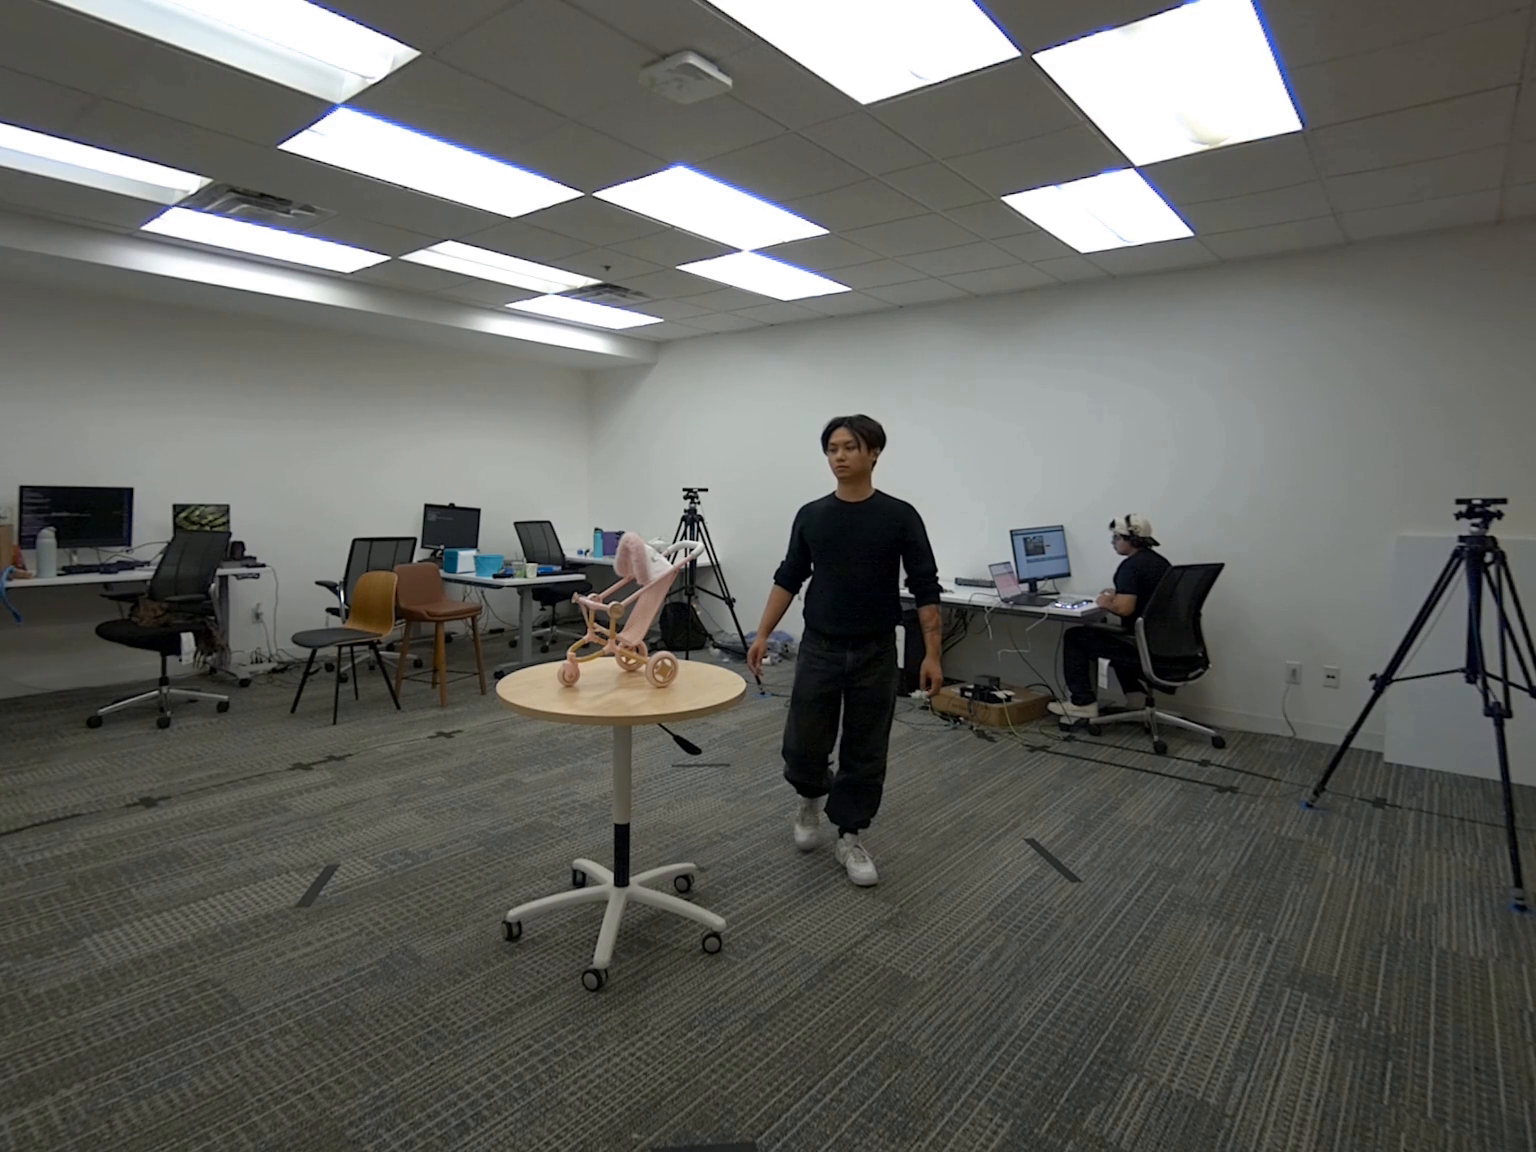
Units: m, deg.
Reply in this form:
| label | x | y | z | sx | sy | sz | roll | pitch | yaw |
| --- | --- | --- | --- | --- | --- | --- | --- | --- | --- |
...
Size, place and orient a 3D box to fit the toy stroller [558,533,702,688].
| label | x | y | z | sx | sy | sz | roll | pitch | yaw |
| --- | --- | --- | --- | --- | --- | --- | --- | --- | --- |
| toy stroller | -0.450 | 0.103 | 2.652 | 0.332 | 0.536 | 0.289 | 16 | -2 | -25 |
